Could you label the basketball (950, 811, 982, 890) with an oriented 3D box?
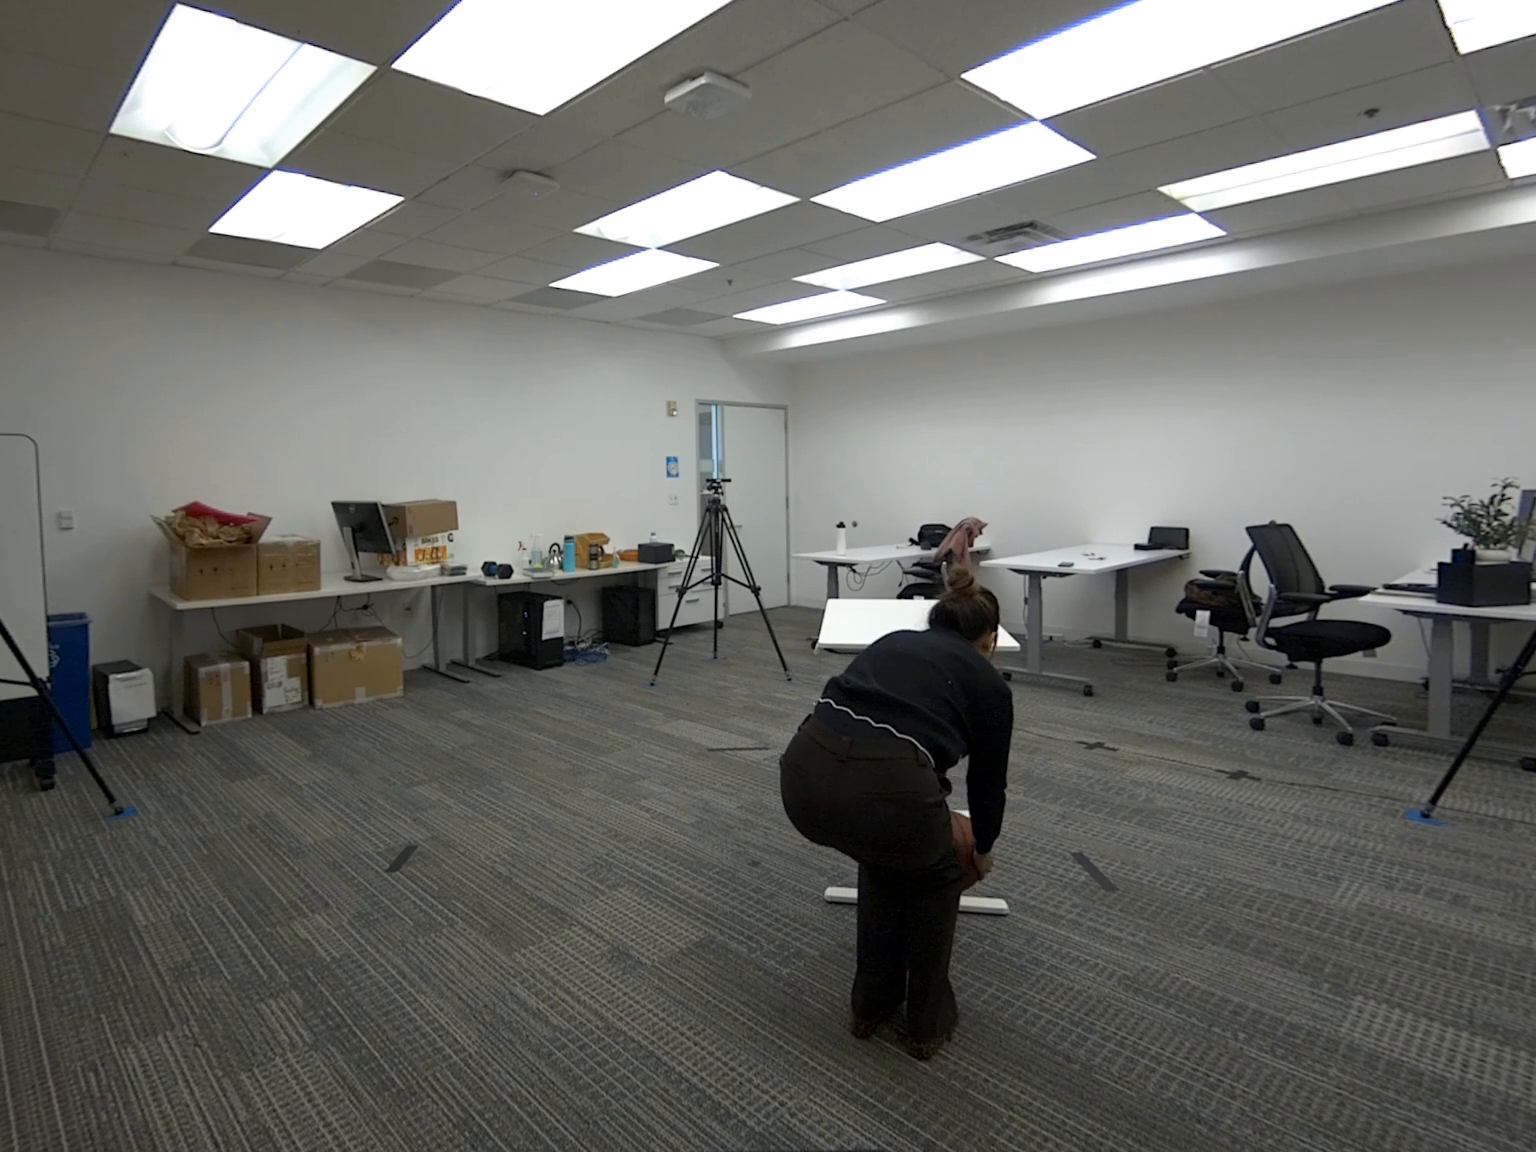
[{"bbox_3d":[0.542,0.815,2.538,0.236,0.235,0.237,-1,5,-2],"label":"basketball"}]
